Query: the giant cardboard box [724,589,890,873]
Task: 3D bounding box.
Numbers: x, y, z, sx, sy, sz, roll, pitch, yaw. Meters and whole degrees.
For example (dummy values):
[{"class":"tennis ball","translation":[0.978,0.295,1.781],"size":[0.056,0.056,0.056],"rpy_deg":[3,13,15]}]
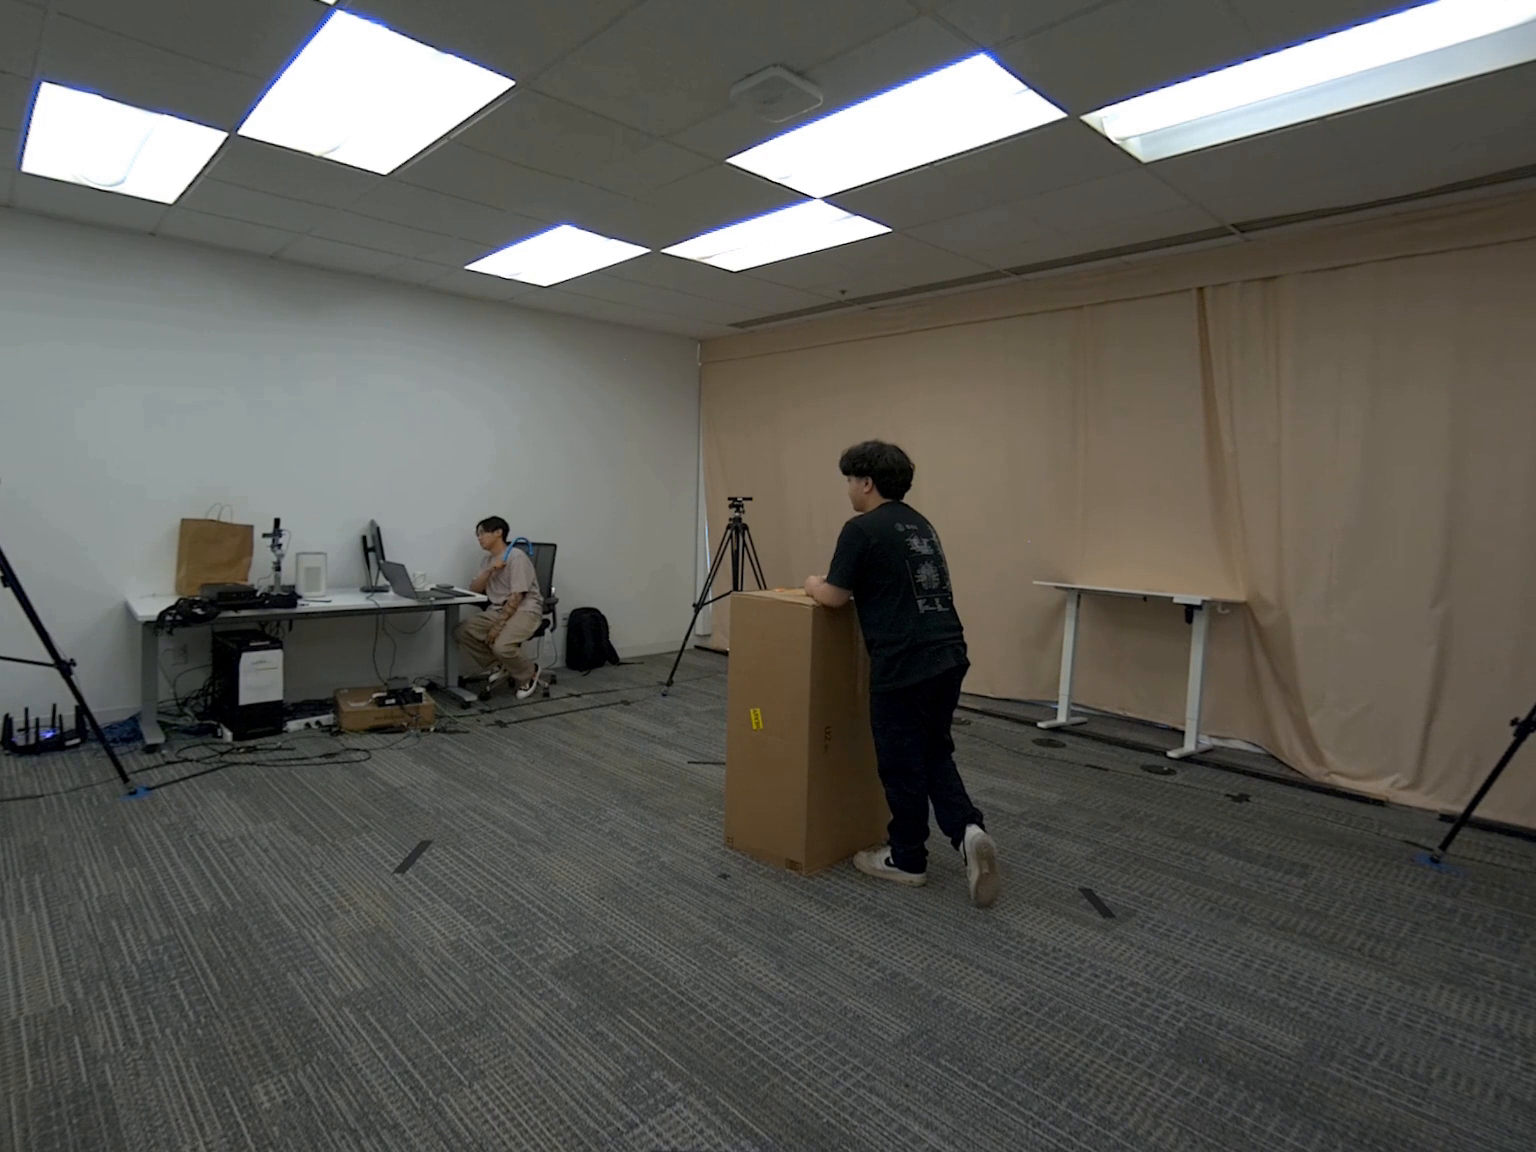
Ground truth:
[{"class":"giant cardboard box","translation":[0.172,0.577,3.438],"size":[0.458,1.025,0.570],"rpy_deg":[4,3,44]}]
